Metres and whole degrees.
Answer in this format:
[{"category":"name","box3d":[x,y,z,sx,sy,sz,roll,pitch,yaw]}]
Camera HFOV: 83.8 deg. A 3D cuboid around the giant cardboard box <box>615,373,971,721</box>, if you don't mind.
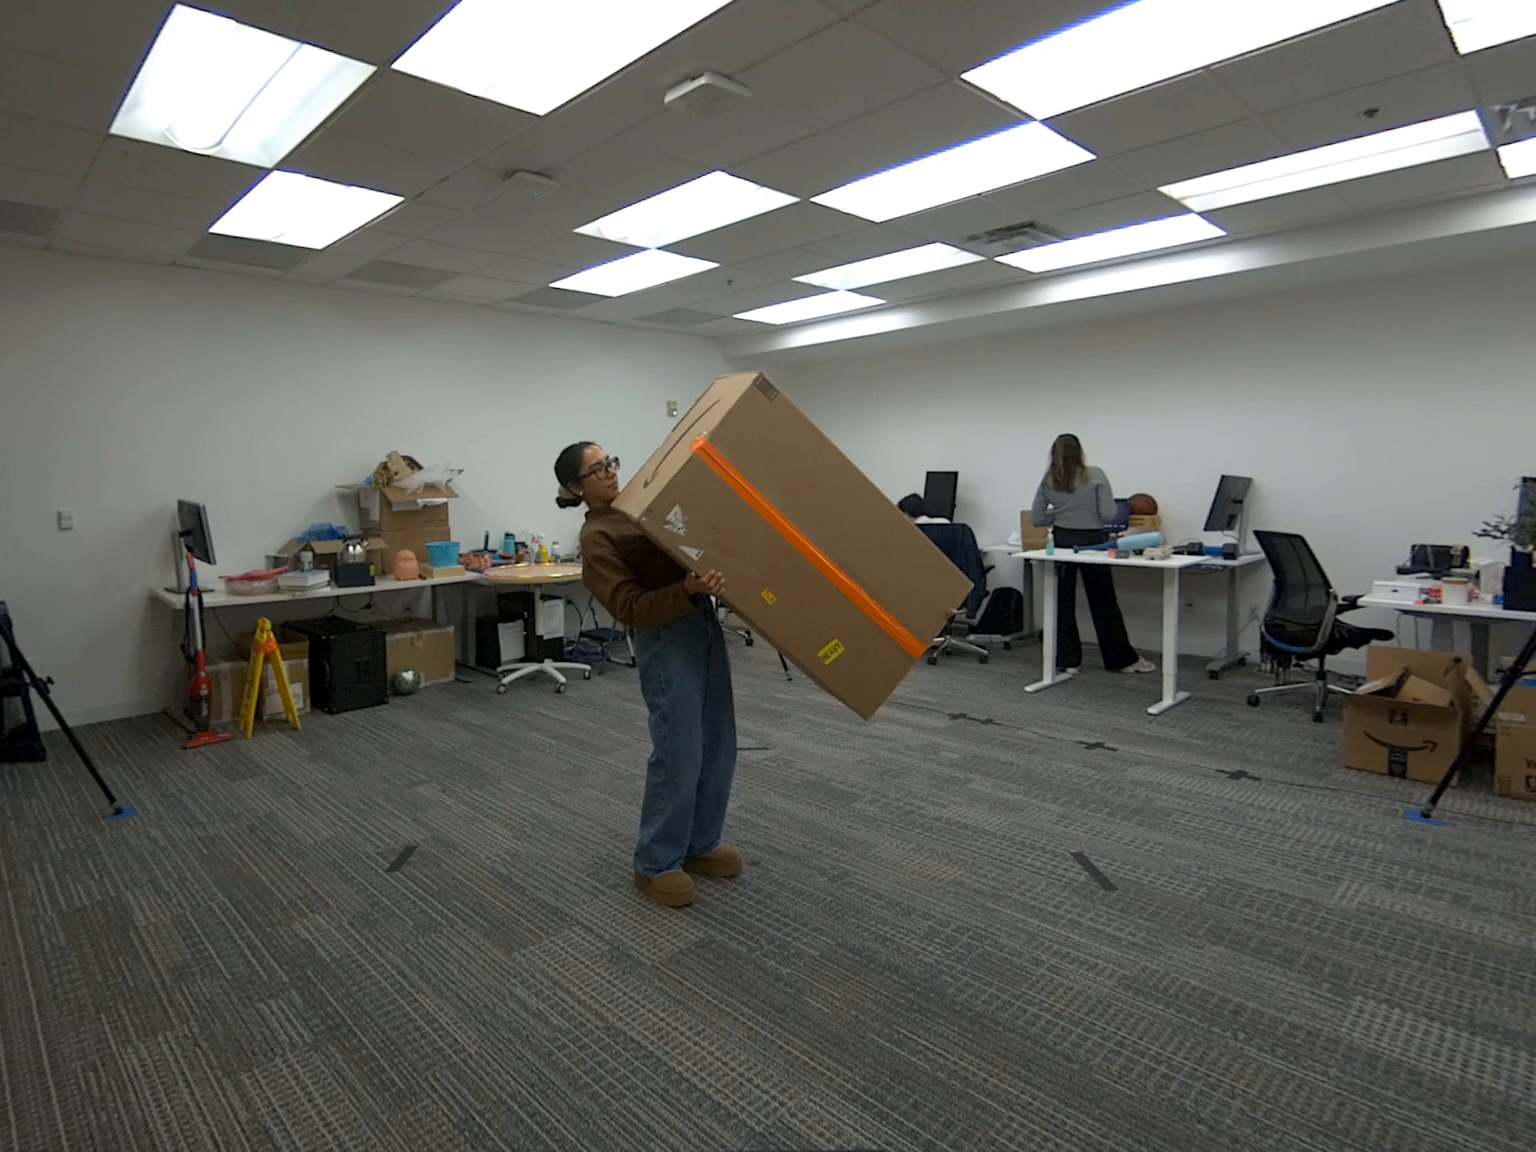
[{"category":"giant cardboard box","box3d":[0.085,-0.098,2.824,1.001,0.577,0.437,42,-6,-20]}]
